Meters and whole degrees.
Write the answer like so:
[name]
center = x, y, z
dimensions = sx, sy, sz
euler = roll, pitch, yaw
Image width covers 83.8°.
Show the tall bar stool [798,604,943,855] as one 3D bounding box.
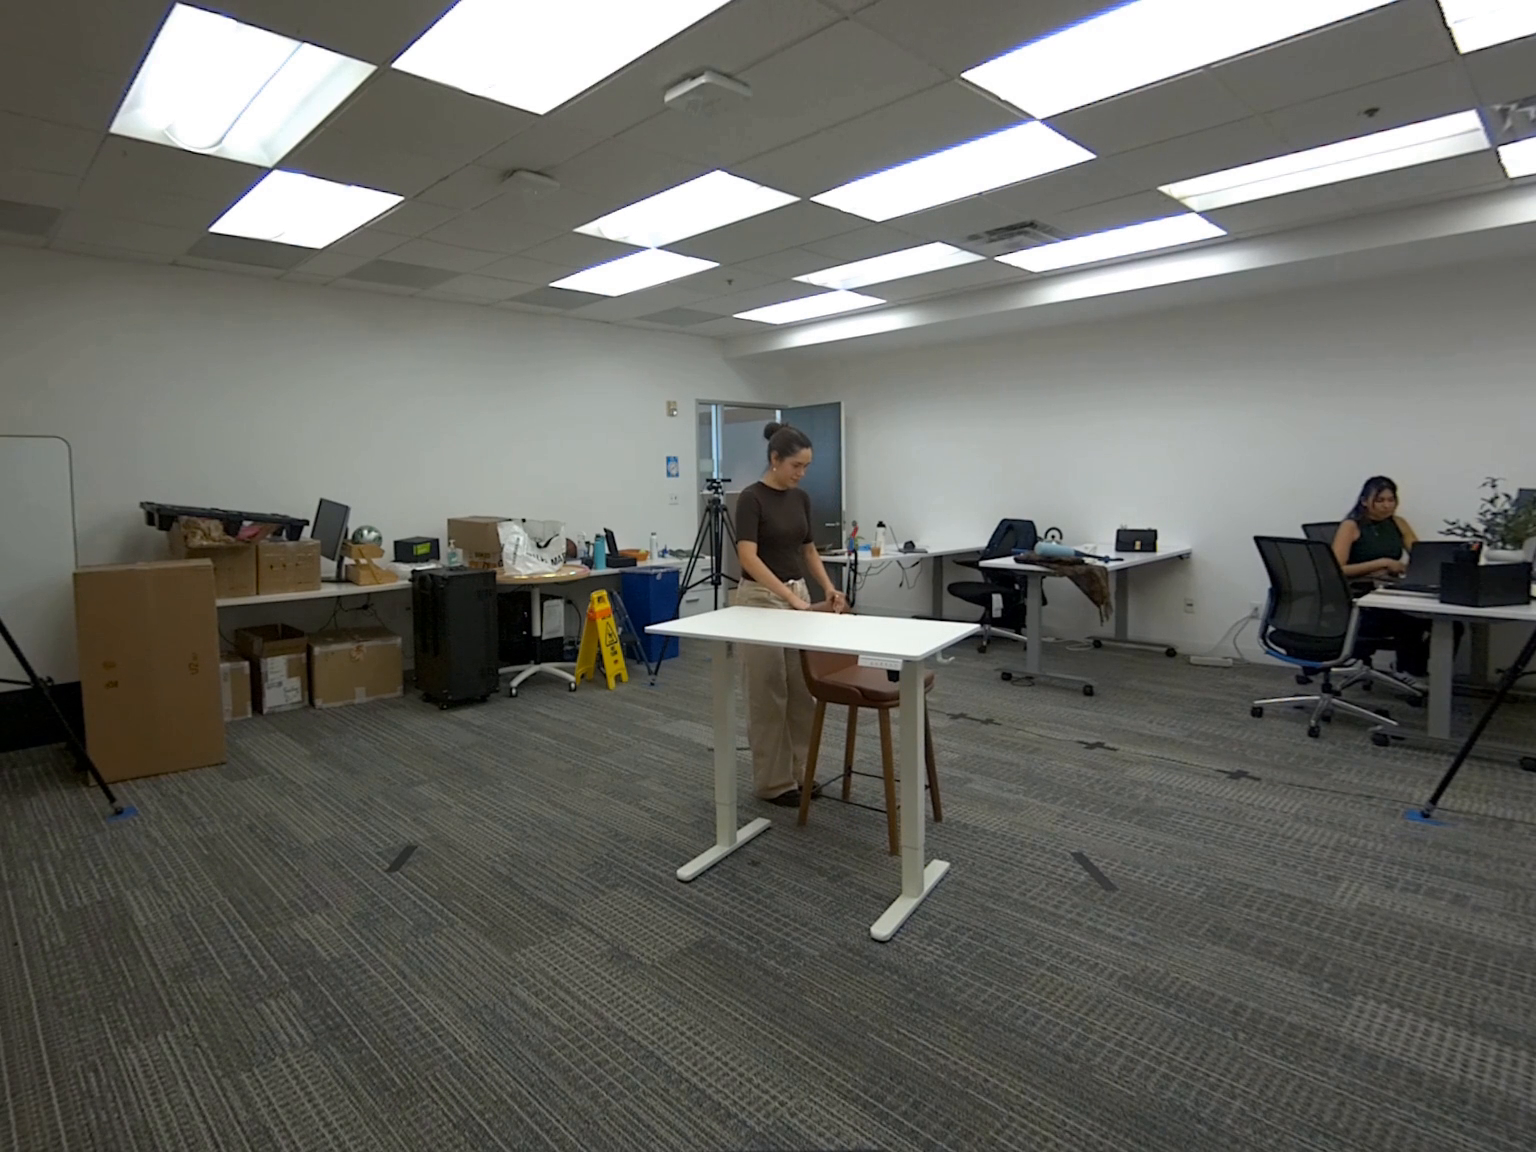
[tall bar stool]
center = 0.393, 0.565, 3.424
dimensions = 0.481, 0.888, 0.445
euler = 0, 3, 38
